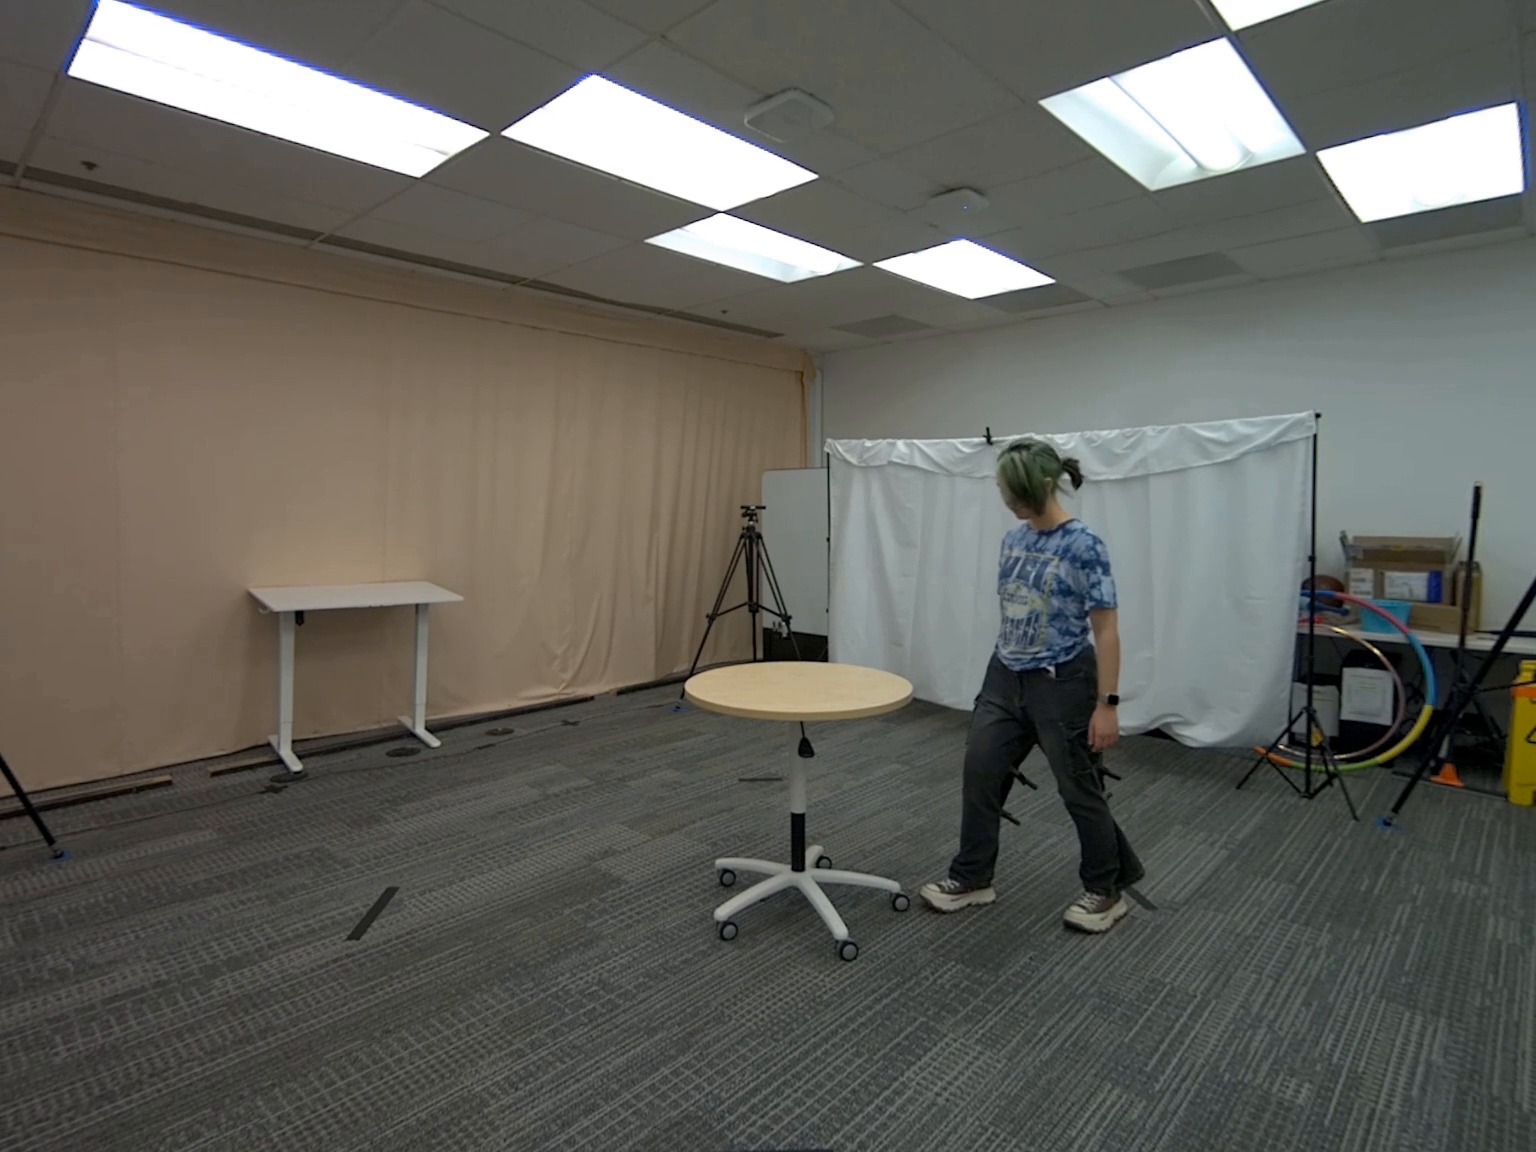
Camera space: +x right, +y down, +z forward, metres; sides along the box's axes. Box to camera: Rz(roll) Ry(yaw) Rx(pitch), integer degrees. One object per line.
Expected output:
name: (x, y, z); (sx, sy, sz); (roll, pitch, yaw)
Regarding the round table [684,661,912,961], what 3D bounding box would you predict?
round table: (0.103, 0.764, 2.885); (0.763, 0.792, 0.767); (0, 4, -2)
